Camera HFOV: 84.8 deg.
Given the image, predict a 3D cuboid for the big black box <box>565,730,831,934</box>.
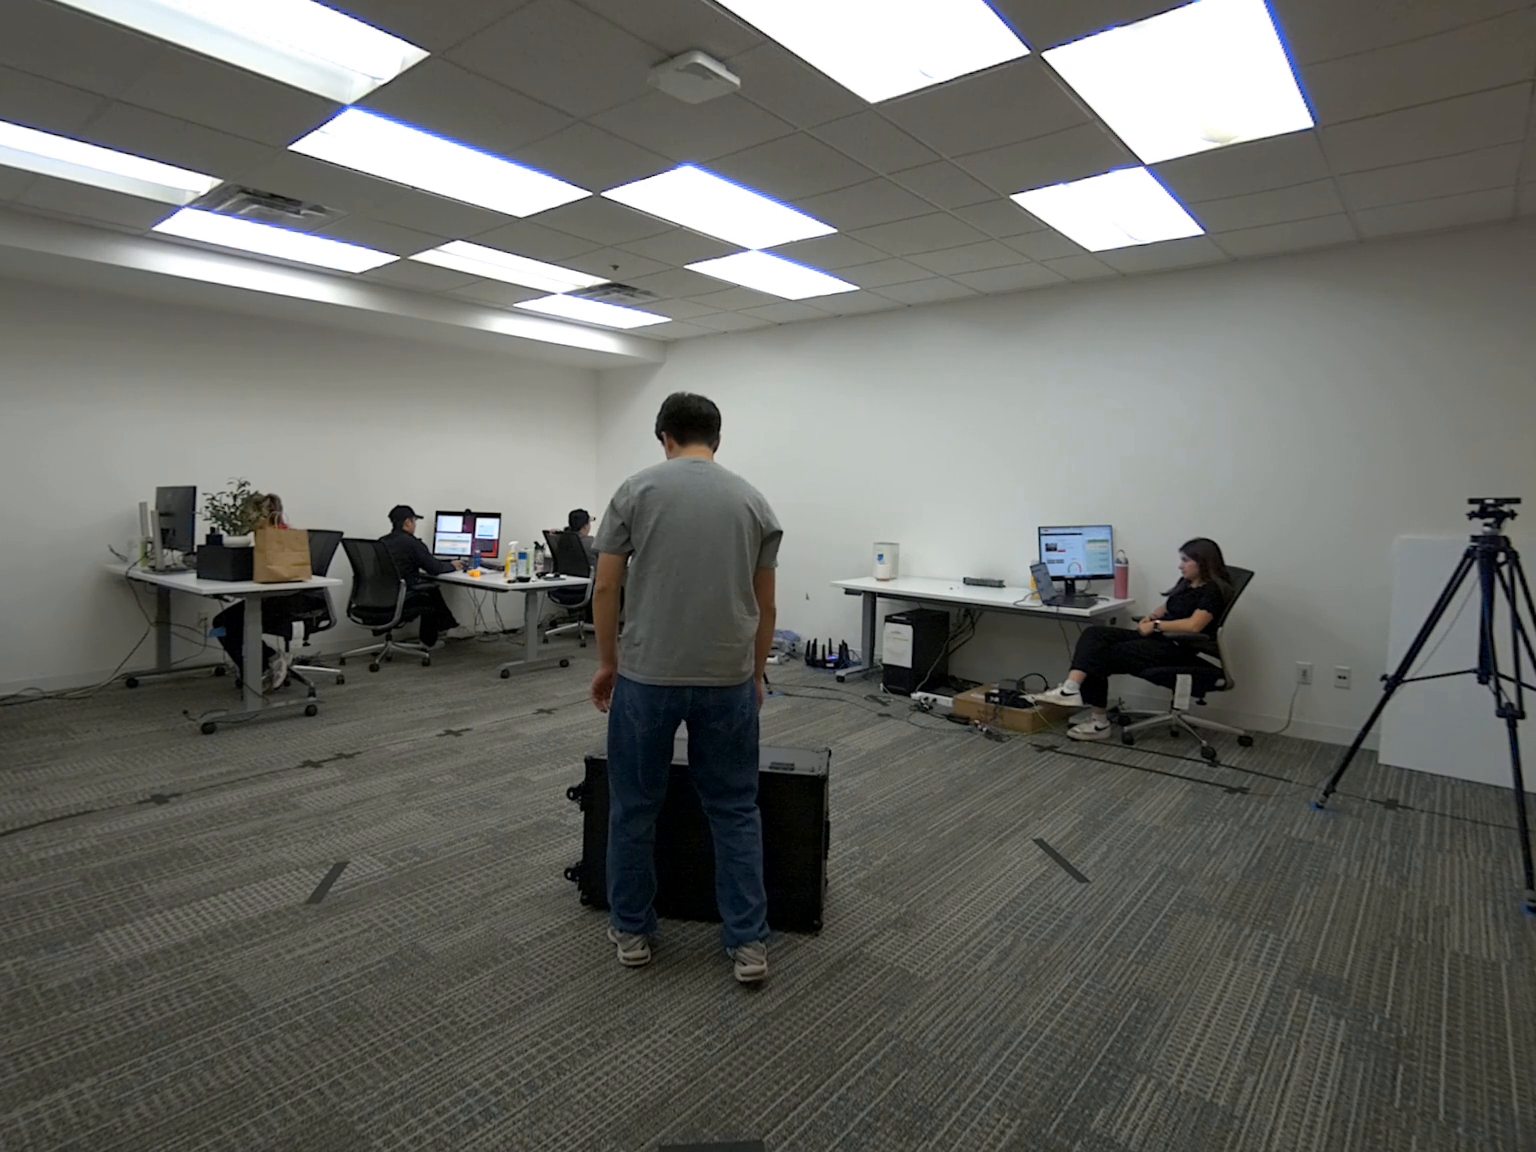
[{"bbox_3d":[-0.235,0.827,2.899,0.871,0.521,0.392,2,1,9],"label":"big black box"}]
